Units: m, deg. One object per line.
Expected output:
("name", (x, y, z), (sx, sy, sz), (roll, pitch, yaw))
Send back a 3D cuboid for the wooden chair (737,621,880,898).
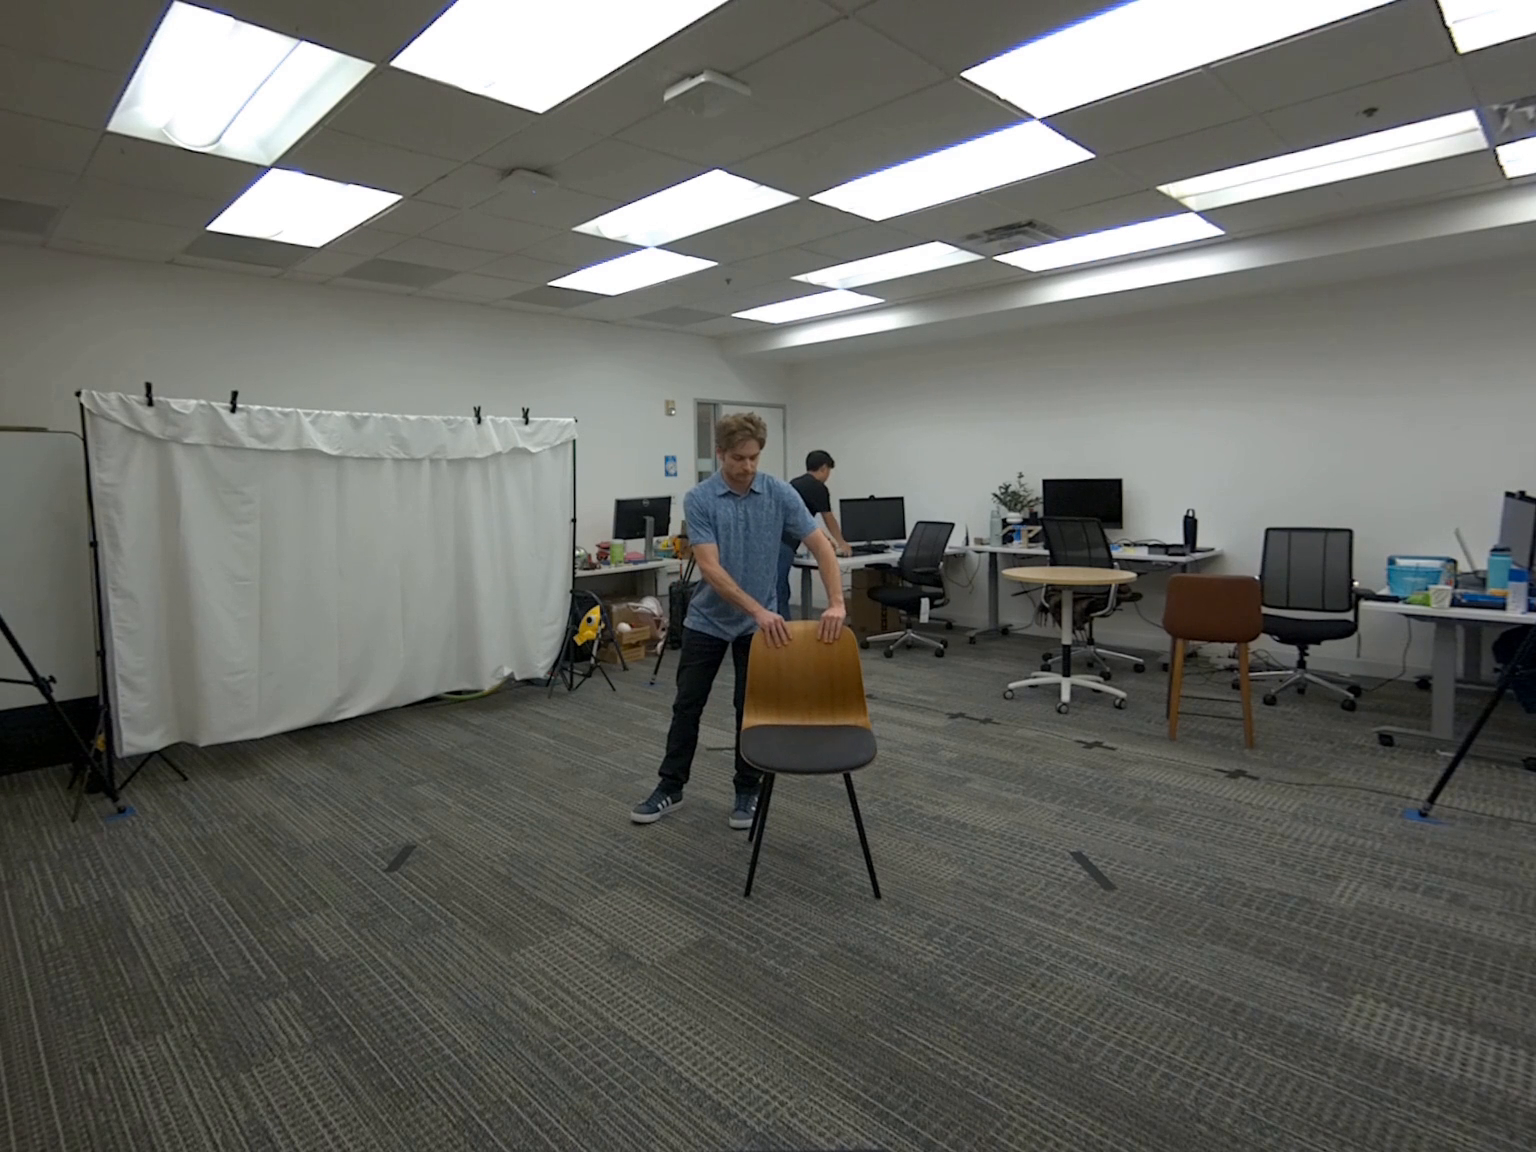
("wooden chair", (0.144, 0.622, 3.017), (0.479, 0.877, 0.522), (-1, 0, 2))
